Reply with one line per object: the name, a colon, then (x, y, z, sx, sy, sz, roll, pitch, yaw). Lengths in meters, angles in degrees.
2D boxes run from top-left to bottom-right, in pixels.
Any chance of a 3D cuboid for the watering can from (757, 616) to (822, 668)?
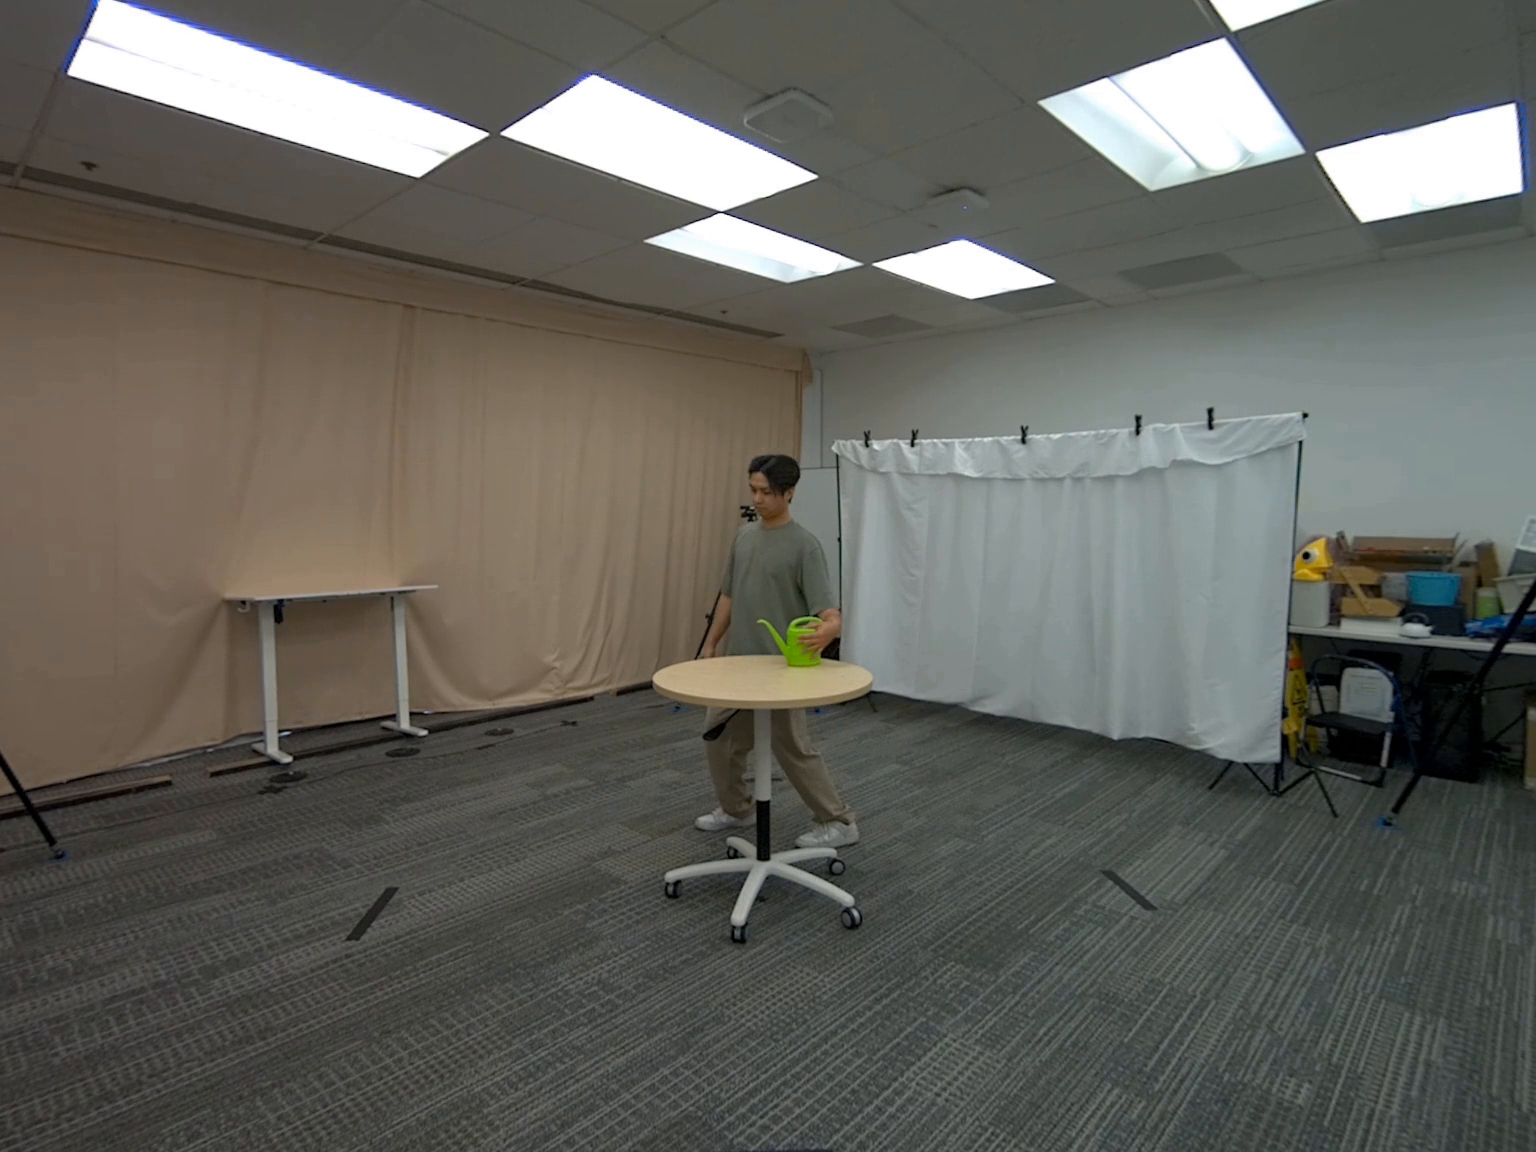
watering can: (0.087, 0.248, 3.126, 0.274, 0.176, 0.099, -1, 2, -13)
